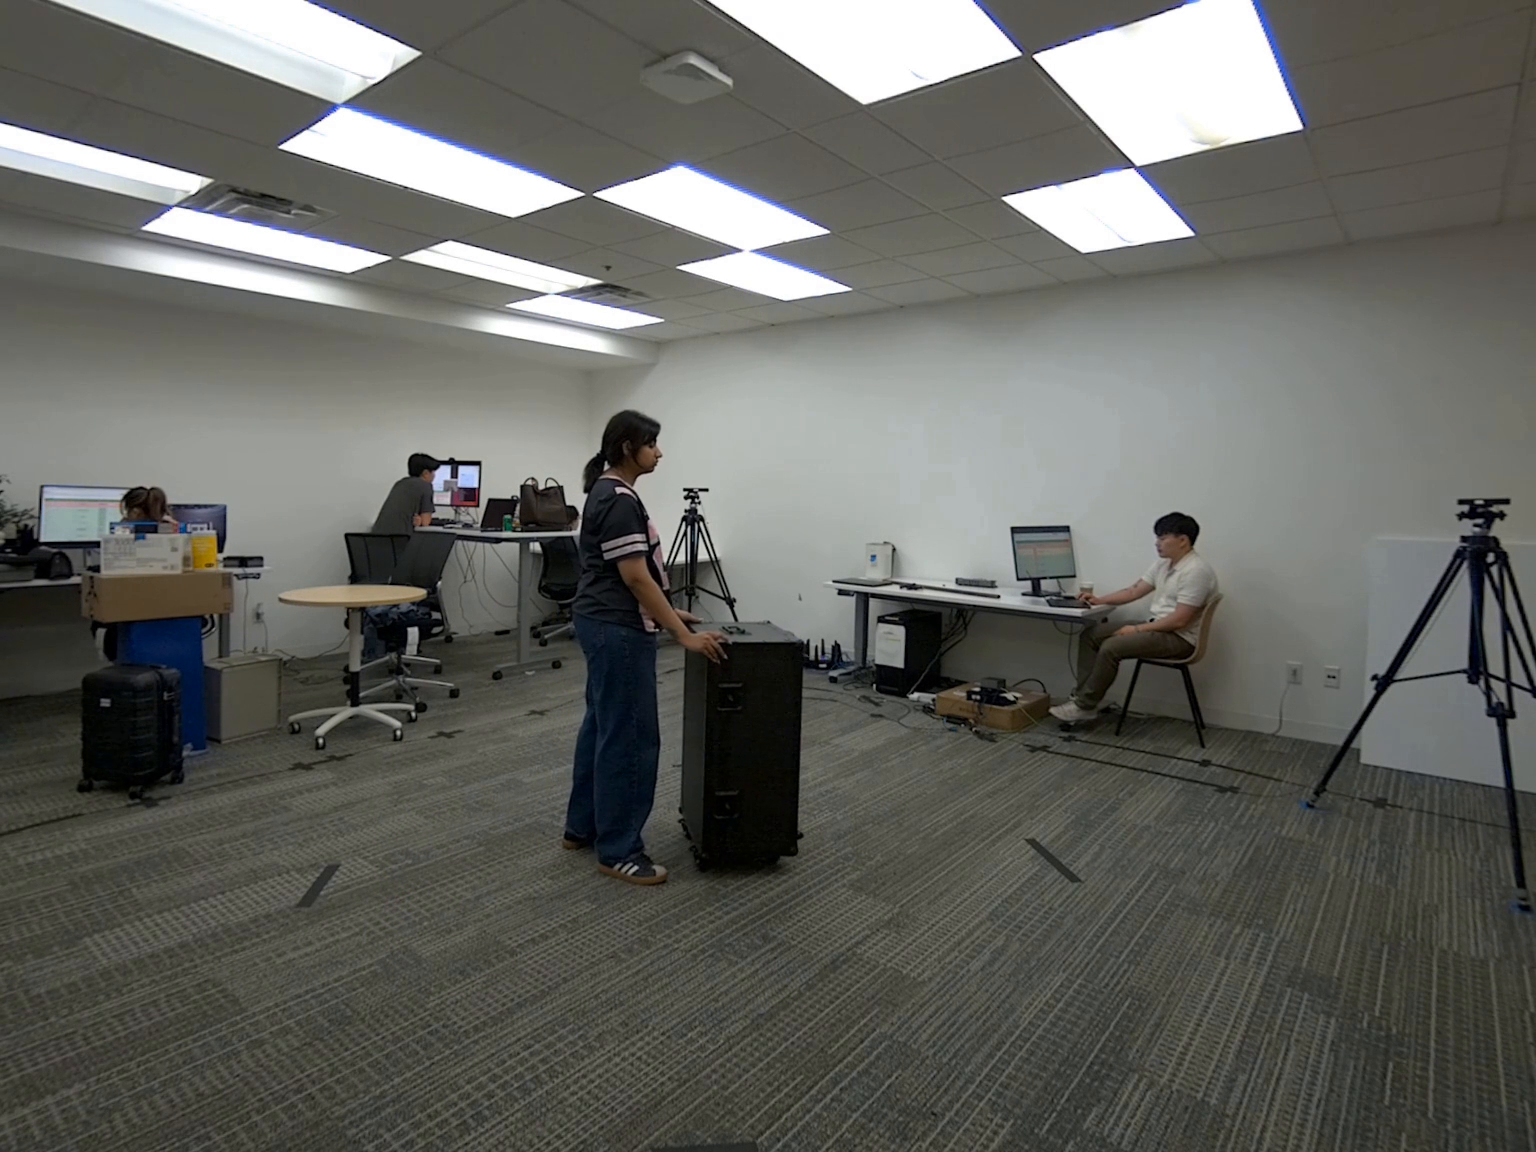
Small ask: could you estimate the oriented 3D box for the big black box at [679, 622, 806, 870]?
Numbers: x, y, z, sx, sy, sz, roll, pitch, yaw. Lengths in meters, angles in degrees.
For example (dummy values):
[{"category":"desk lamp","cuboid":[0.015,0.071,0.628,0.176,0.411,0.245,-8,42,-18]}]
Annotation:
[{"category":"big black box","cuboid":[-0.125,0.635,3.261,0.379,0.866,0.533,1,3,-15]}]
